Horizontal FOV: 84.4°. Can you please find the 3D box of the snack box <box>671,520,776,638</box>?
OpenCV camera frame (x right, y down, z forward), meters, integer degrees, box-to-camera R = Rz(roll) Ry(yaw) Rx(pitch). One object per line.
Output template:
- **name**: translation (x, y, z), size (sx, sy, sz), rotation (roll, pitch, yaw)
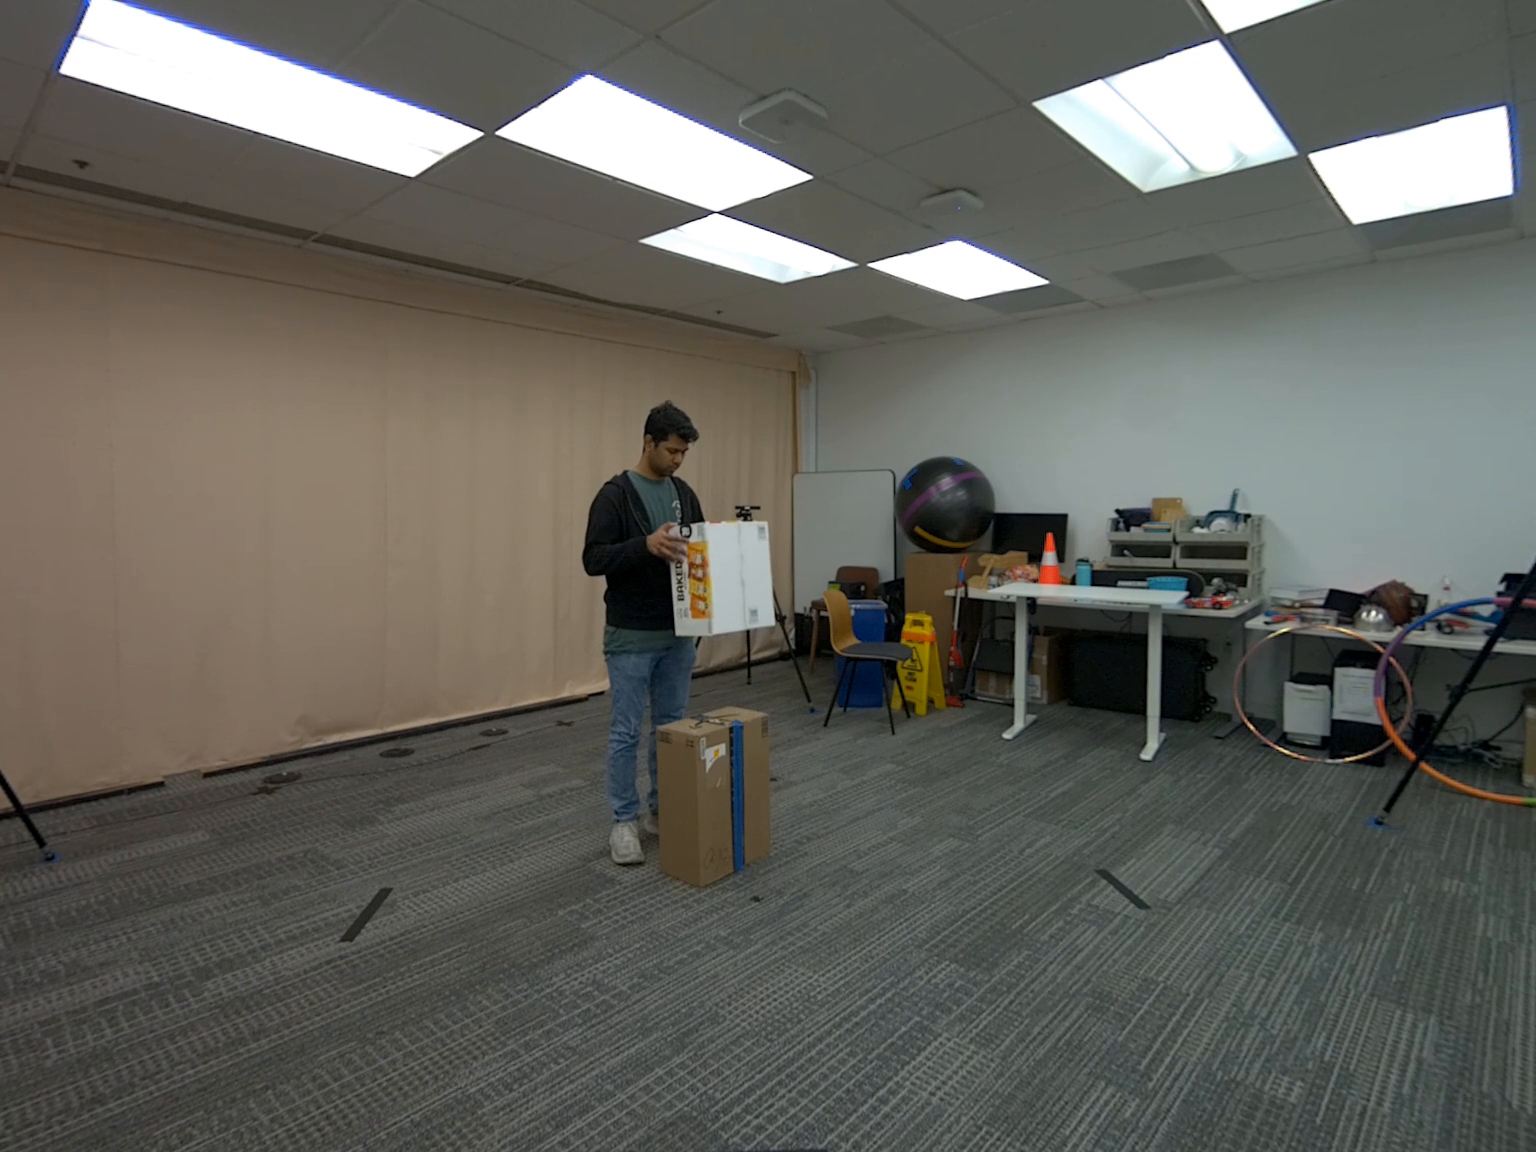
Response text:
- **snack box**: translation (-0.170, 0.010, 3.178), size (0.212, 0.405, 0.330), rotation (-6, -2, 44)
